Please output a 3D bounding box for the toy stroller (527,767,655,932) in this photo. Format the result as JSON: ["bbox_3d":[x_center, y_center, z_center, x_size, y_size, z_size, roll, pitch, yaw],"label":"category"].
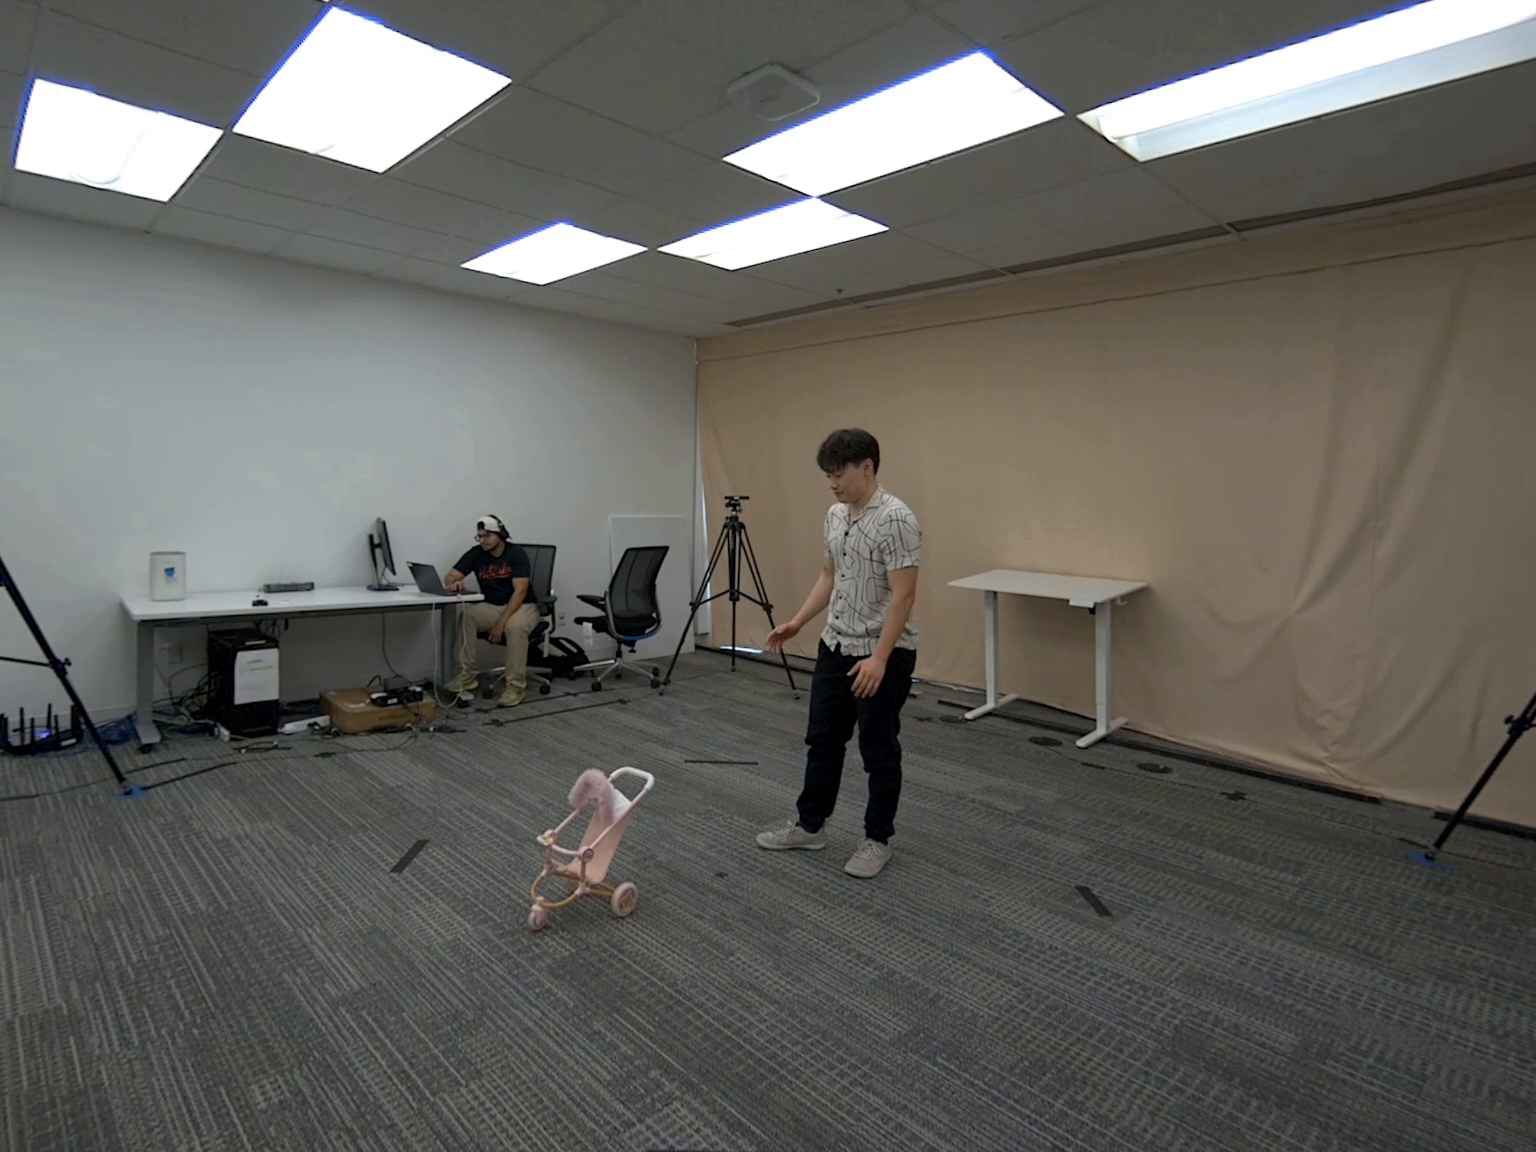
[{"bbox_3d":[-0.610,0.897,2.814,0.288,0.538,0.331,4,-13,46],"label":"toy stroller"}]
